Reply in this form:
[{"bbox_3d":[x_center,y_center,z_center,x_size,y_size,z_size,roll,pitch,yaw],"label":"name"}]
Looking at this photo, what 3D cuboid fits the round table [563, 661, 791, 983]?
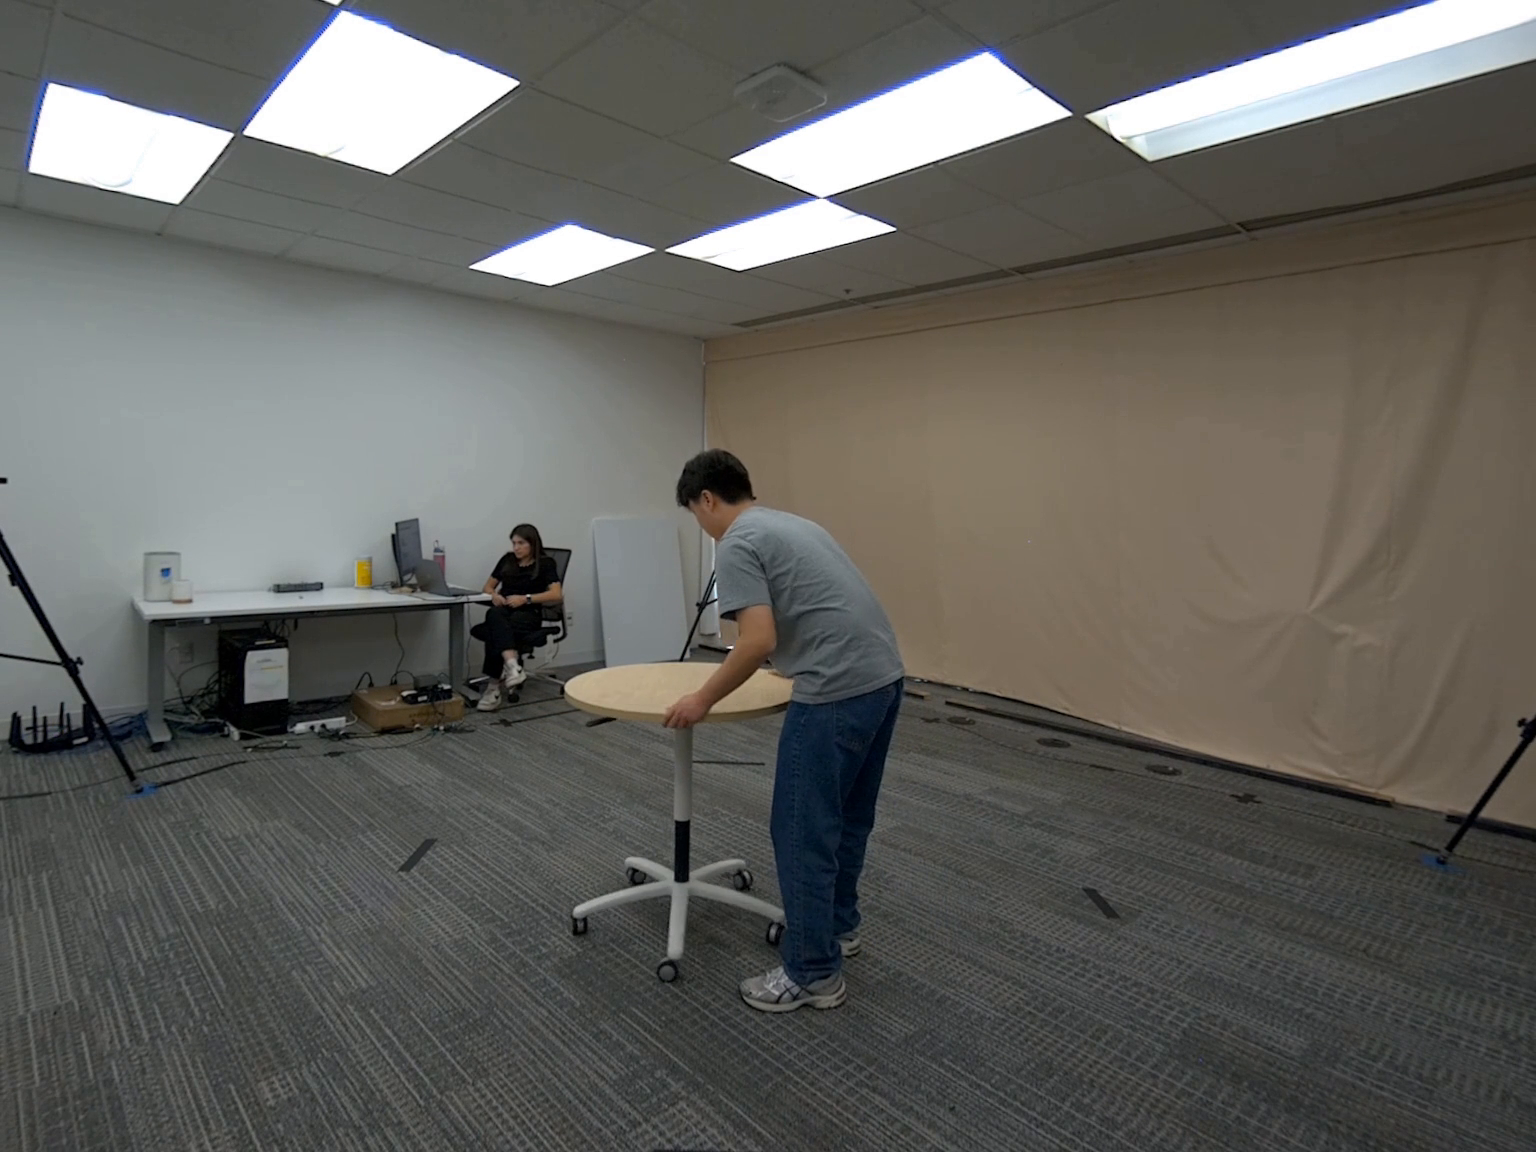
[{"bbox_3d":[-0.285,0.745,2.744,0.763,0.792,0.766,1,4,-1],"label":"round table"}]
